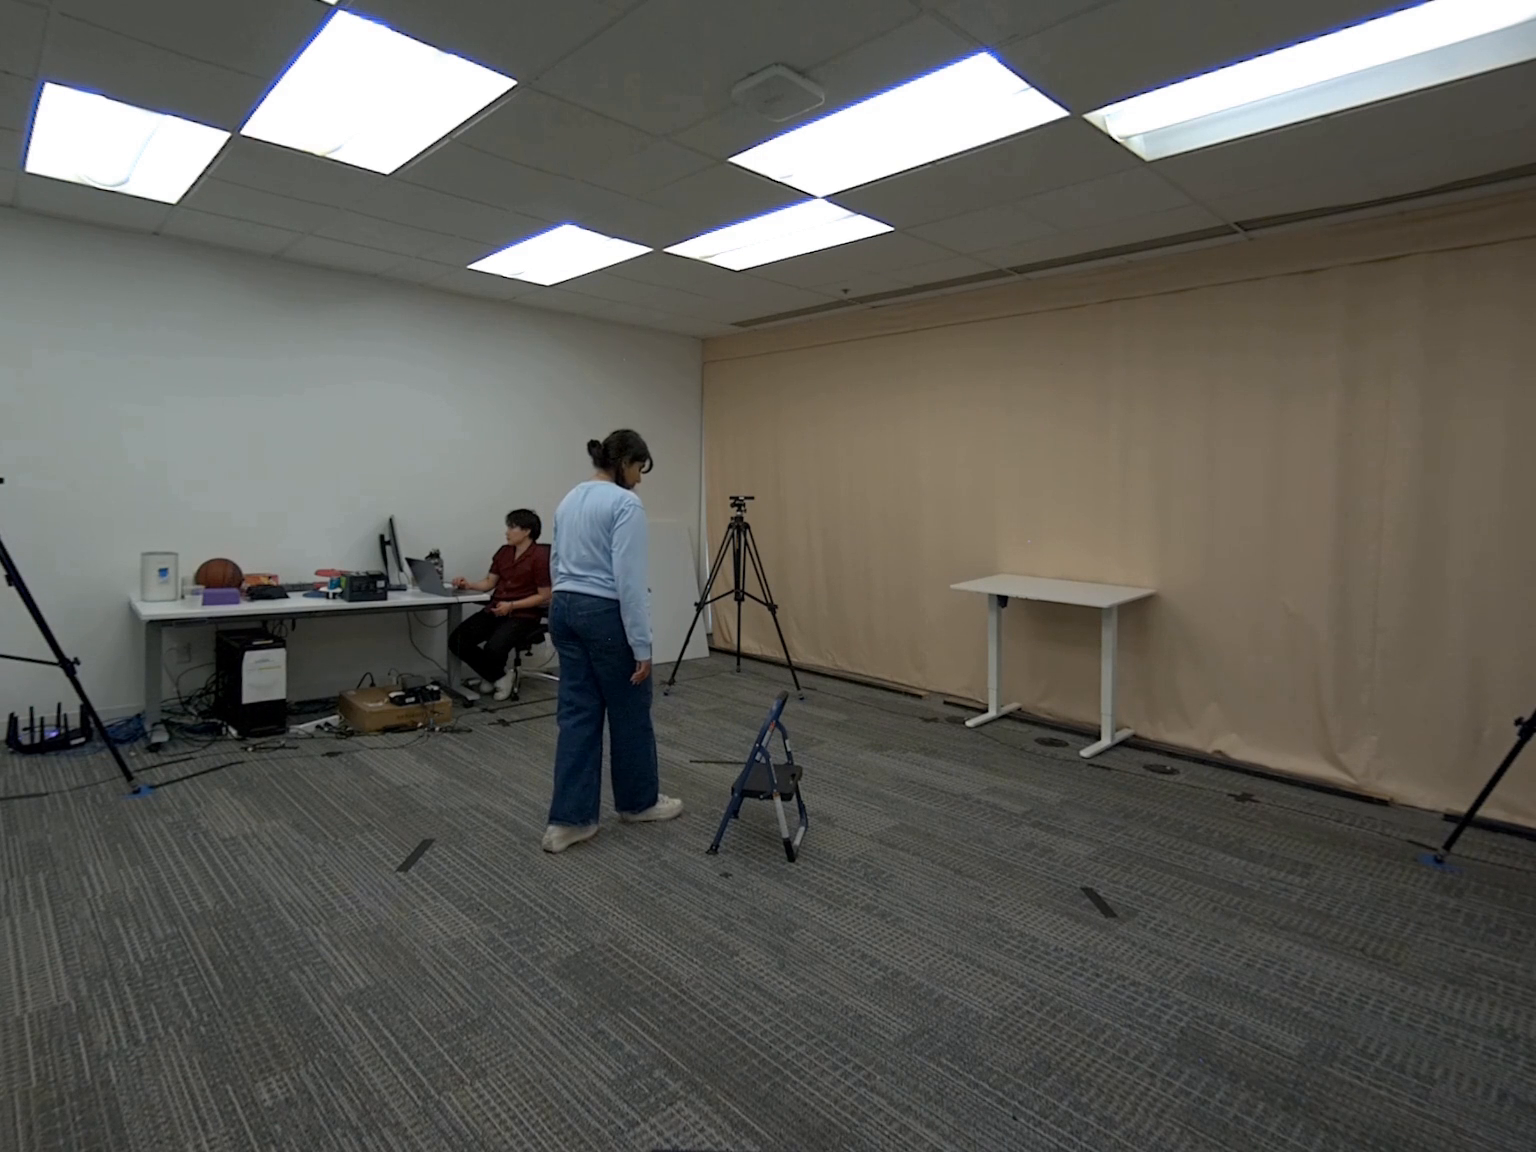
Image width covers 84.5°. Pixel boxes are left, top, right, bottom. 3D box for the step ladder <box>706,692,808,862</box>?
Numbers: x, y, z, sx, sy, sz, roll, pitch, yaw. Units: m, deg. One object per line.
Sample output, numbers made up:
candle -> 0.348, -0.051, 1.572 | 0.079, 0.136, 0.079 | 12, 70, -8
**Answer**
step ladder -> -0.030, 0.776, 3.442 | 0.353, 0.605, 0.427 | 2, 3, 11
